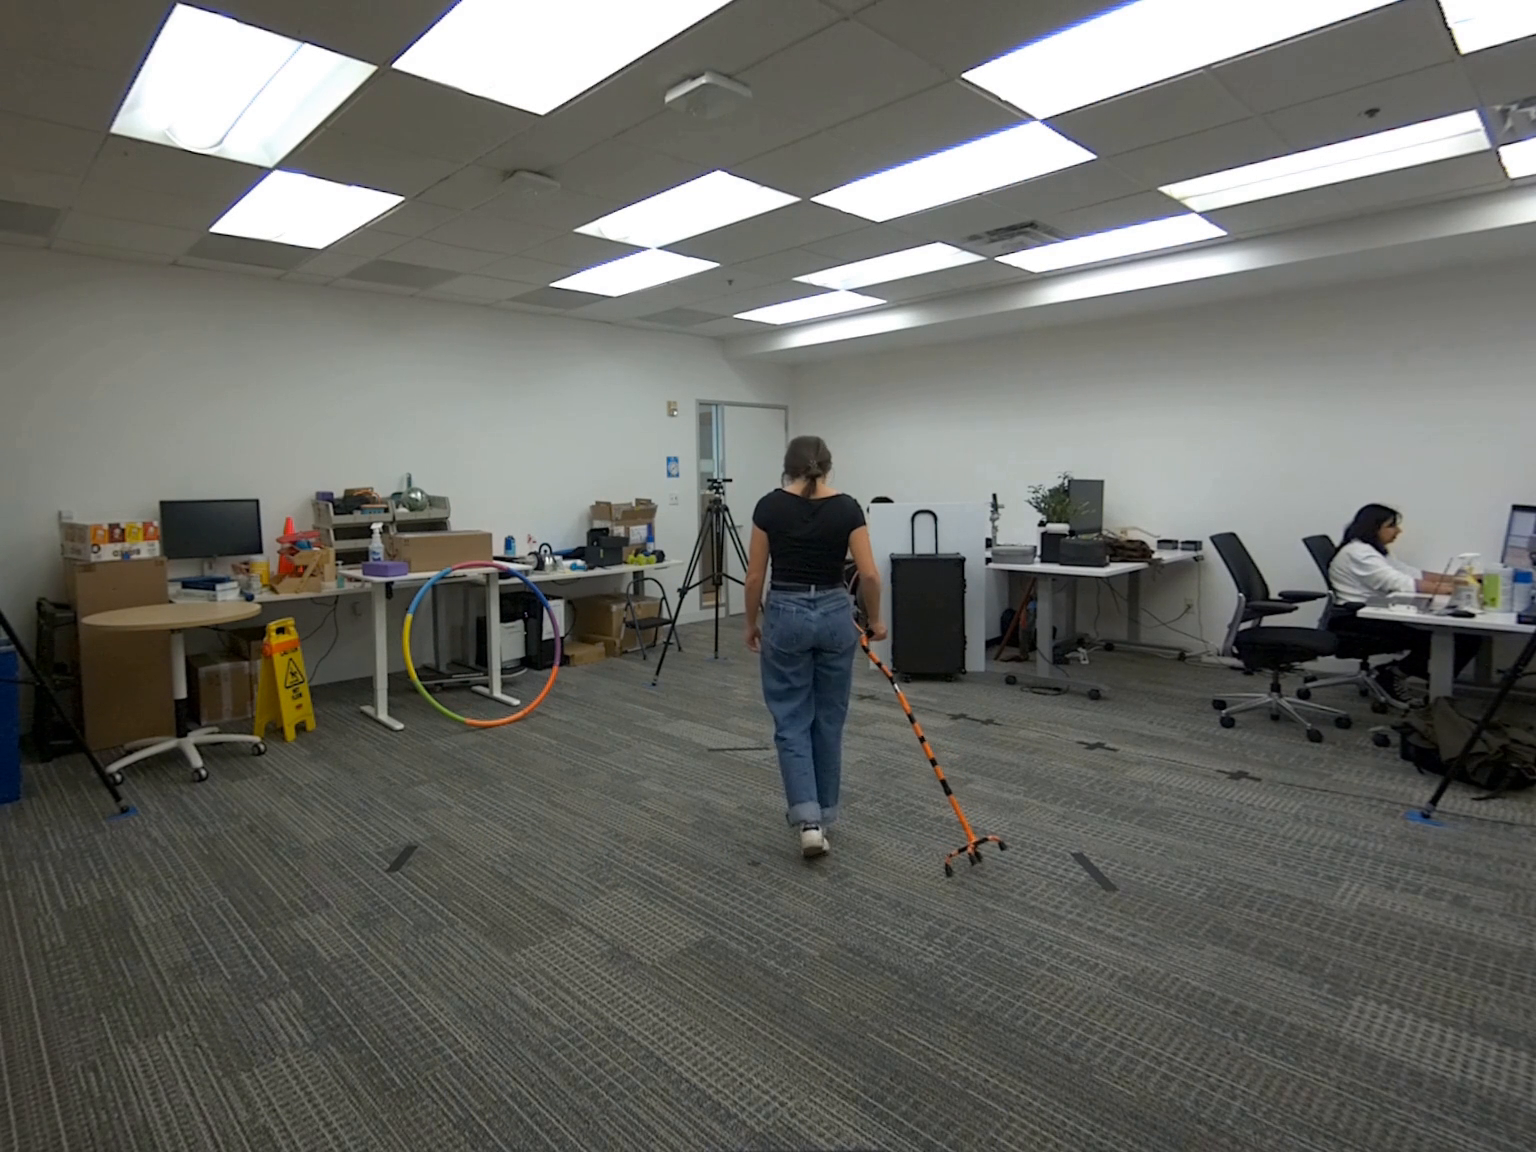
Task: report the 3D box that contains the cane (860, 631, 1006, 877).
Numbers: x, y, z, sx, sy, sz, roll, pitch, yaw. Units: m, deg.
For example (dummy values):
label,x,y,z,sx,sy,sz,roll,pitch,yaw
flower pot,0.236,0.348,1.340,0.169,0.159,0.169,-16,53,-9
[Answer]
label,x,y,z,sx,sy,sz,roll,pitch,yaw
cane,0.568,0.619,3.176,0.200,0.932,0.152,0,-33,-44
